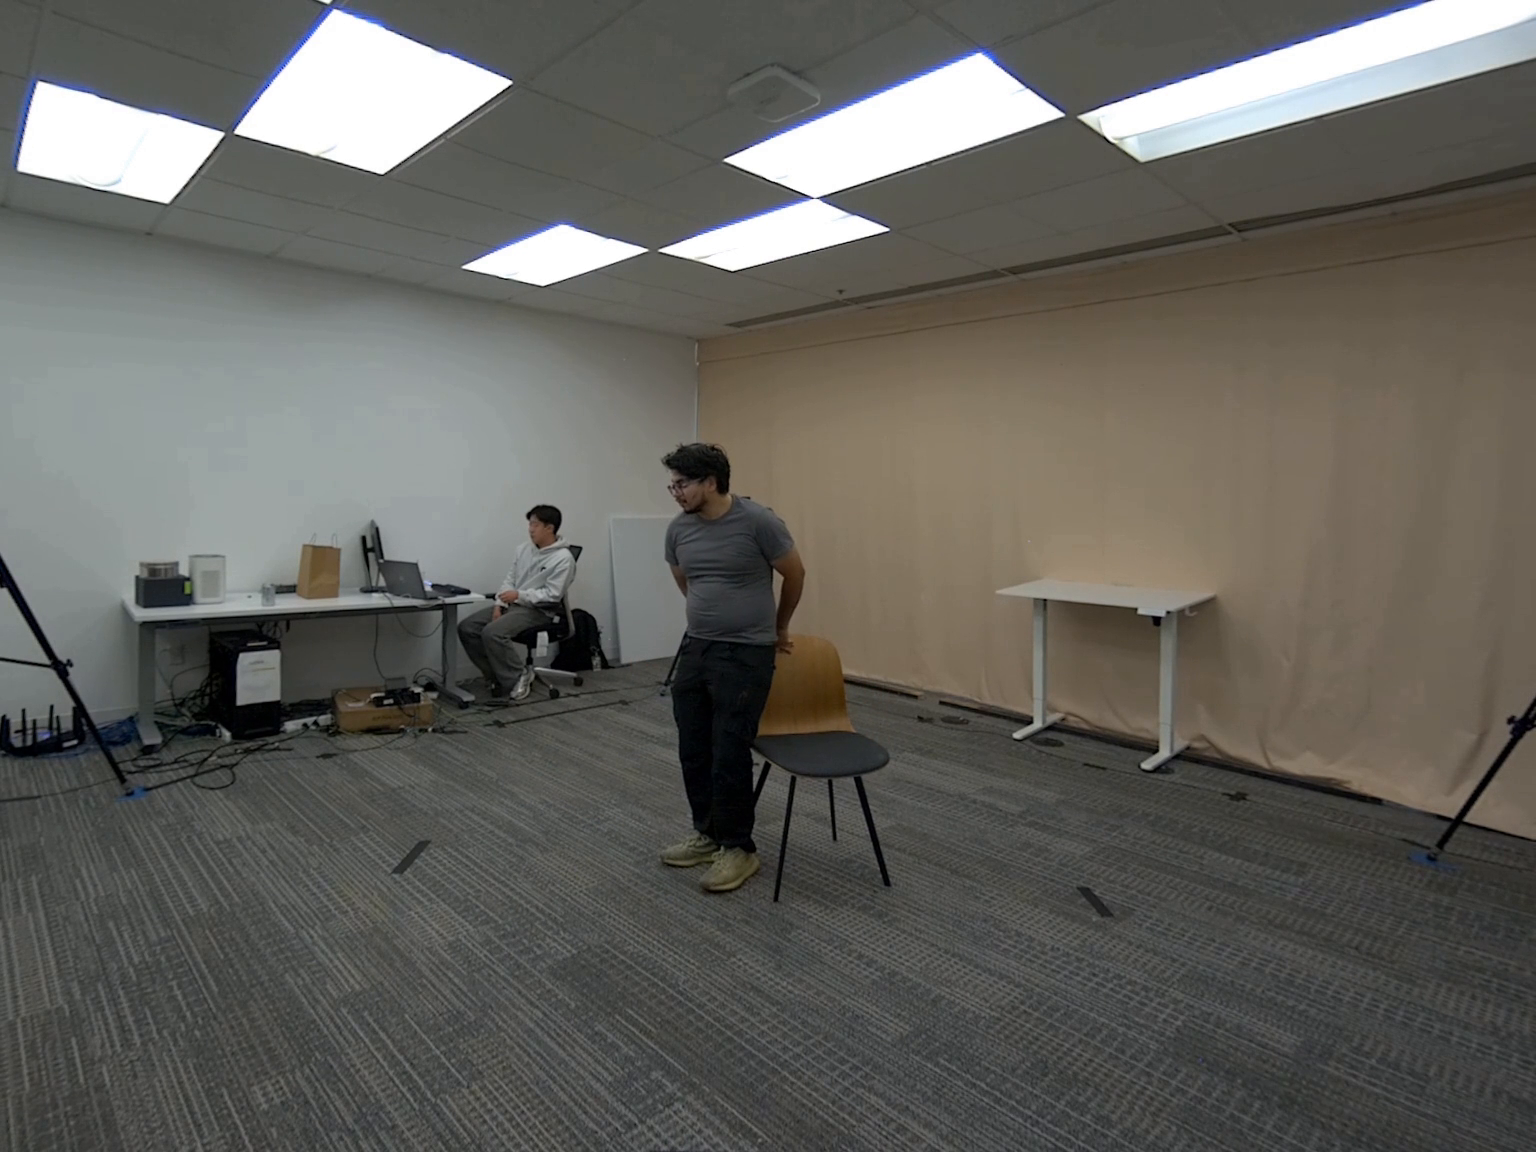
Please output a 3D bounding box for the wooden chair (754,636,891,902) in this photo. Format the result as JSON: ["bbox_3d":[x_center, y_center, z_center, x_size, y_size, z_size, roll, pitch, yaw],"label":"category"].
[{"bbox_3d":[0.166,0.685,3.150,0.471,0.878,0.531,1,-1,-20],"label":"wooden chair"}]
